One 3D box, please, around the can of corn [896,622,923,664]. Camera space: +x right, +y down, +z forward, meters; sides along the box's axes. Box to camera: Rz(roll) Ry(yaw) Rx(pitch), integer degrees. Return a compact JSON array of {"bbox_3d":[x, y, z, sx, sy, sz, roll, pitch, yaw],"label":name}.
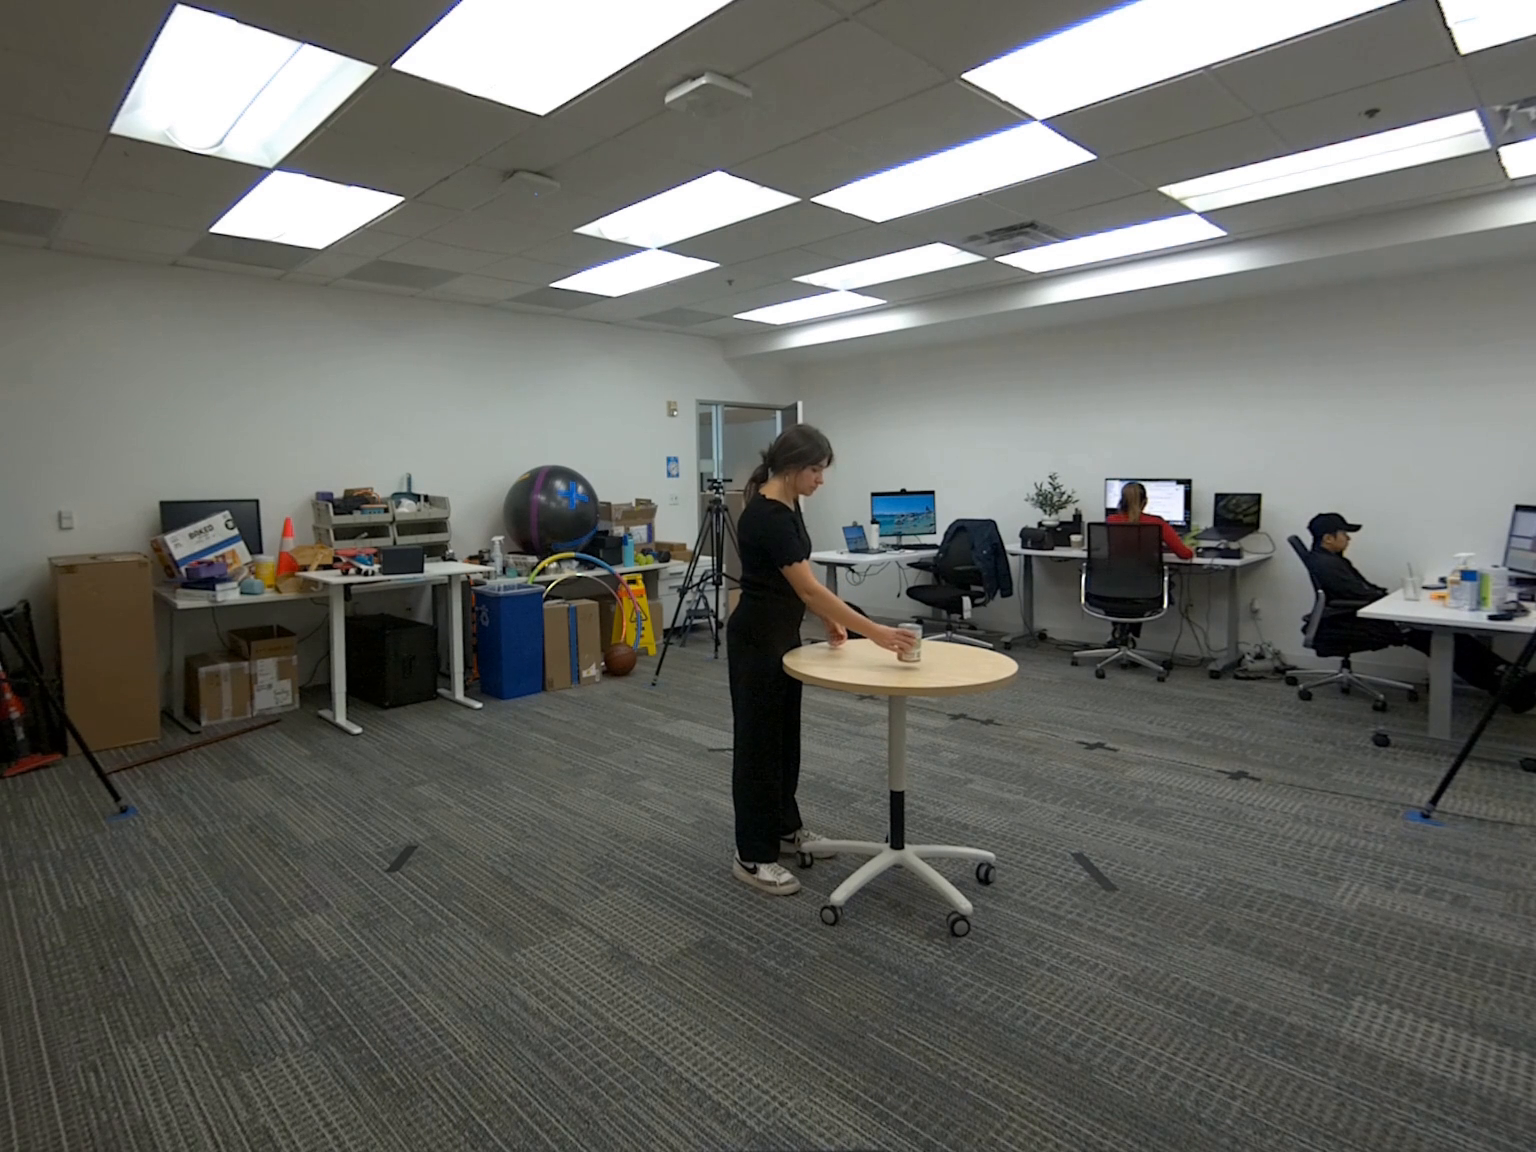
[{"bbox_3d":[0.457,0.216,2.722,0.074,0.110,0.075,-1,10,-2],"label":"can of corn"}]
